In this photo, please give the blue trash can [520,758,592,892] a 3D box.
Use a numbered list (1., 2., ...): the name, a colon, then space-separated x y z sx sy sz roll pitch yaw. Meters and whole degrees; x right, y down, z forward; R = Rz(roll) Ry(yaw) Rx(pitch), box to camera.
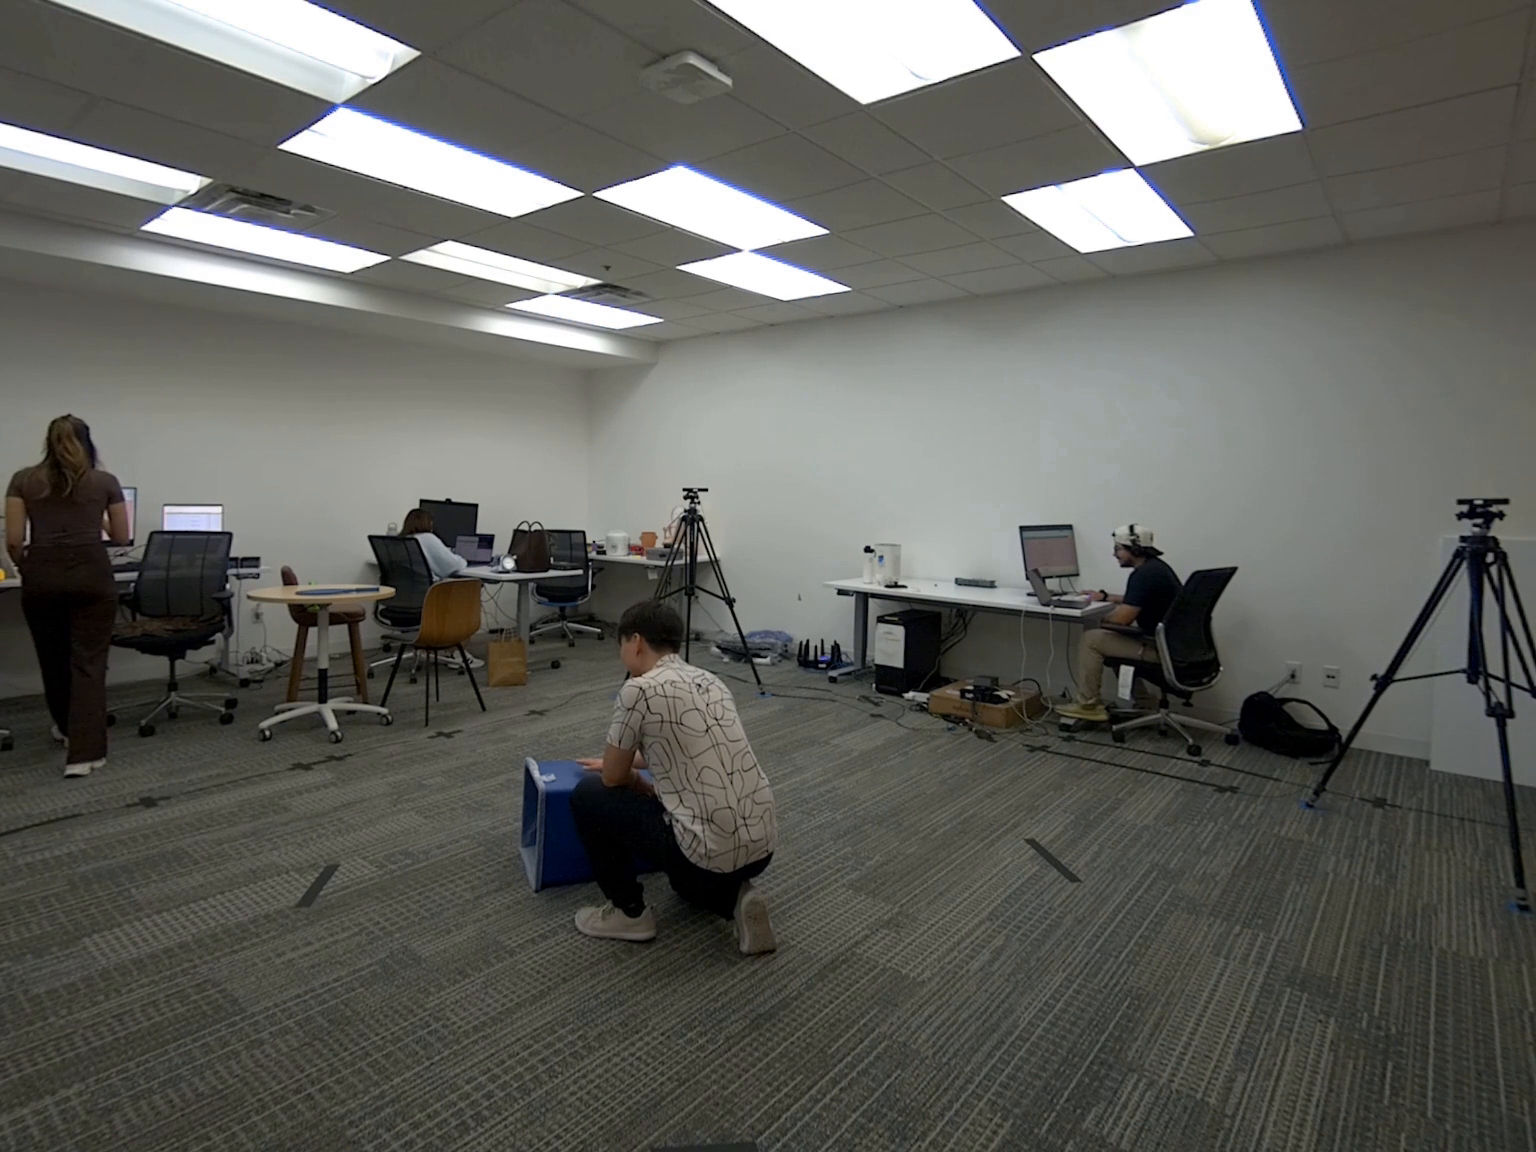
1. blue trash can: -0.545 0.887 3.176 0.698 0.373 0.388 3 4 -22
